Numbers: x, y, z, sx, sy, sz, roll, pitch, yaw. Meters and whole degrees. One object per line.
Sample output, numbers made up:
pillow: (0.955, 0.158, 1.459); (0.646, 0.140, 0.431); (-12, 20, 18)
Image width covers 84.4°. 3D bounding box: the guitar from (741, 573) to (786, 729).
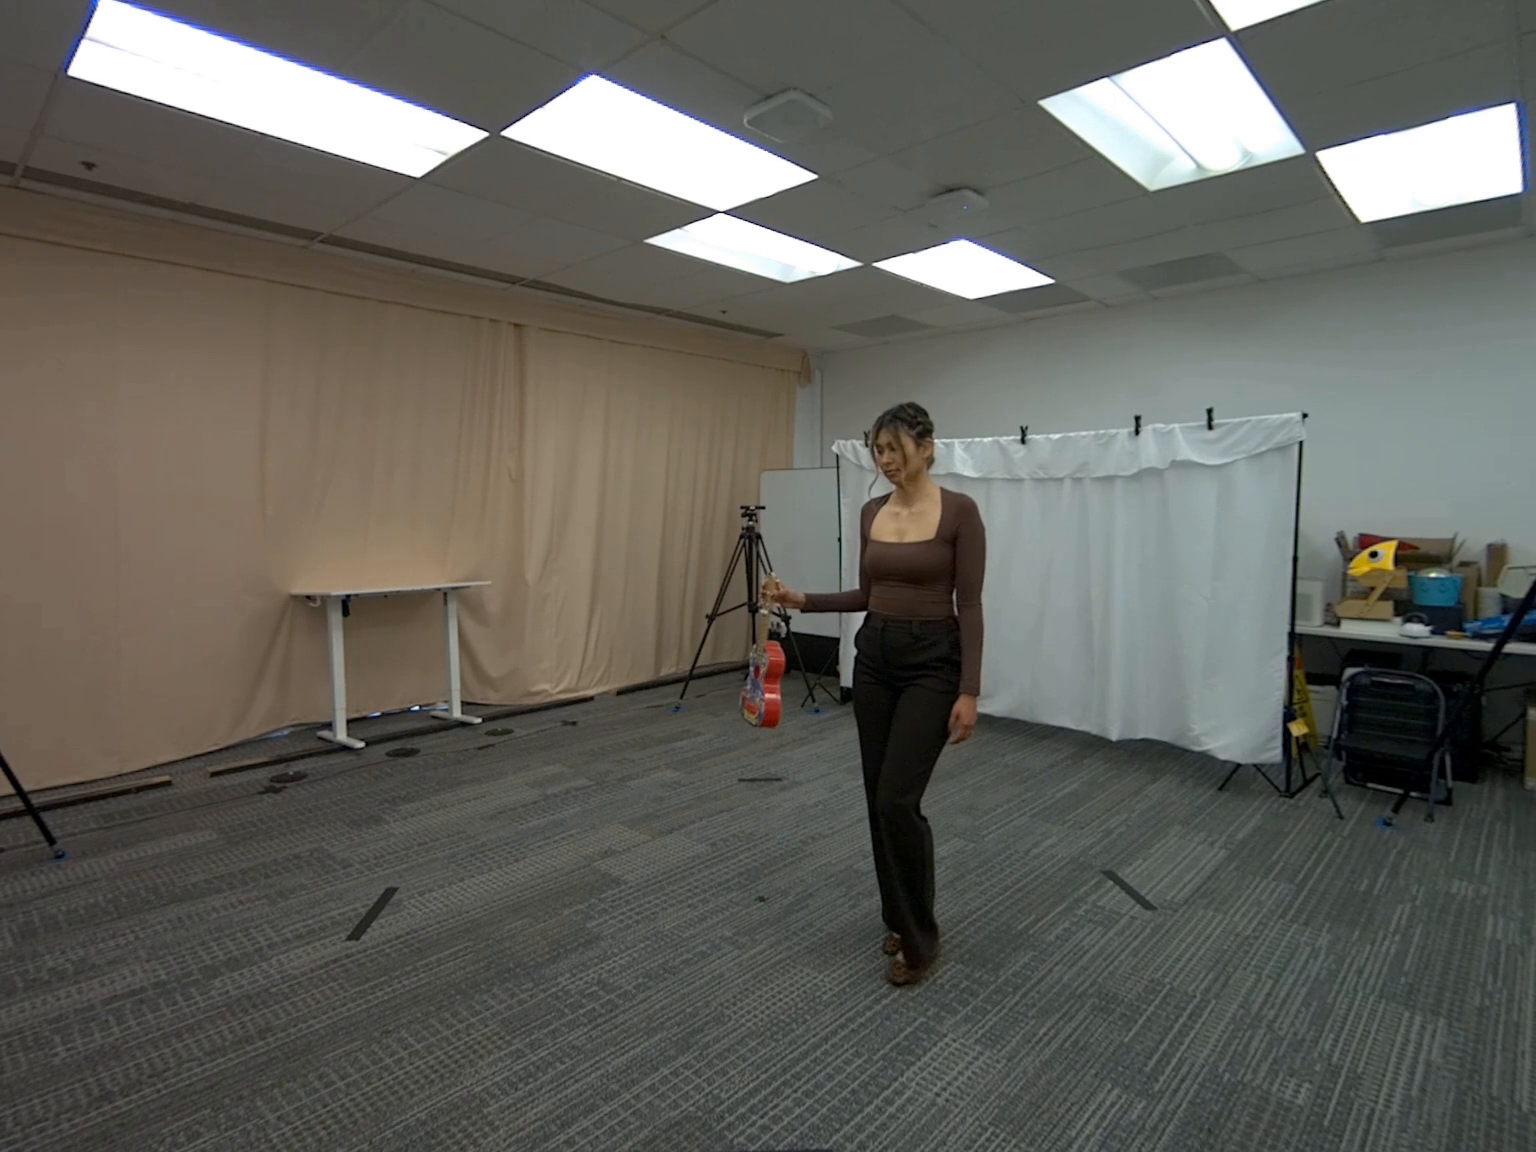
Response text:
guitar: (0.007, 0.249, 2.719); (0.069, 0.495, 0.198); (5, 13, -23)
